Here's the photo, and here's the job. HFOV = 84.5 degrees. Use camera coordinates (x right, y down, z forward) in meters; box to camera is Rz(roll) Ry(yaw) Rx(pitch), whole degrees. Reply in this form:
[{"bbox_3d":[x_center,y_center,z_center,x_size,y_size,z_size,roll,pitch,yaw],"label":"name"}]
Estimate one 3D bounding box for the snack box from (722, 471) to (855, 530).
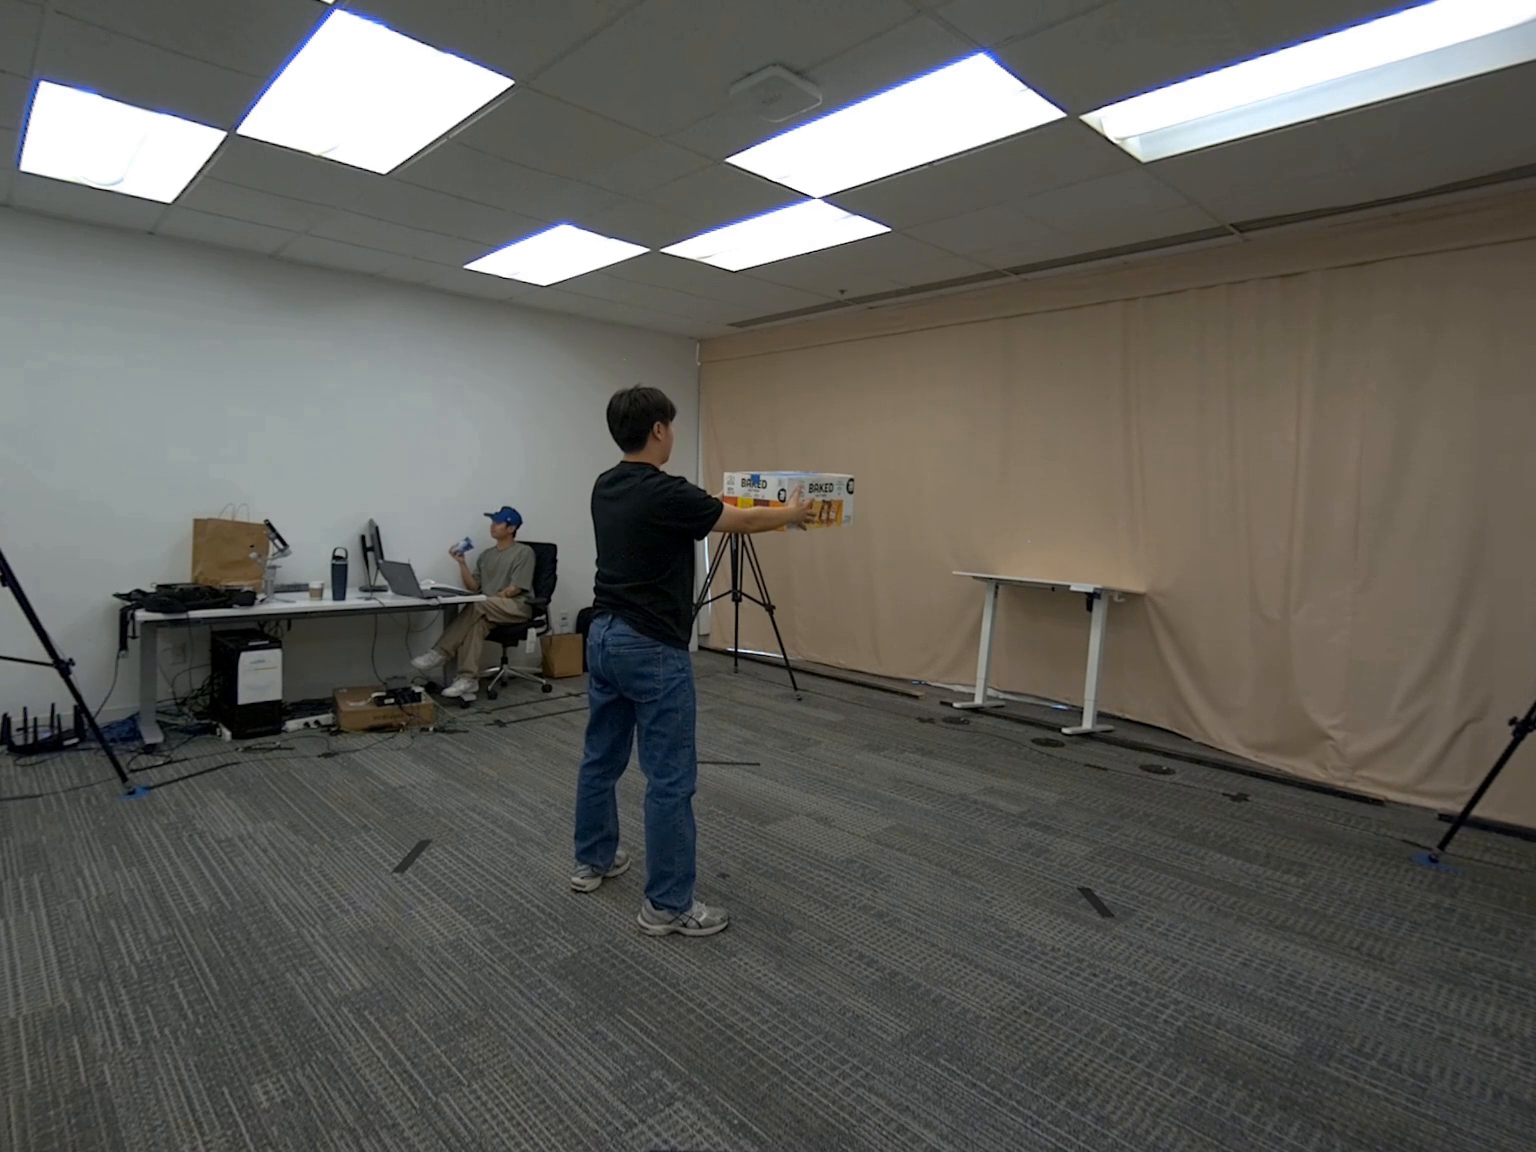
[{"bbox_3d":[0.078,-0.304,3.344,0.350,0.204,0.396,11,12,43],"label":"snack box"}]
